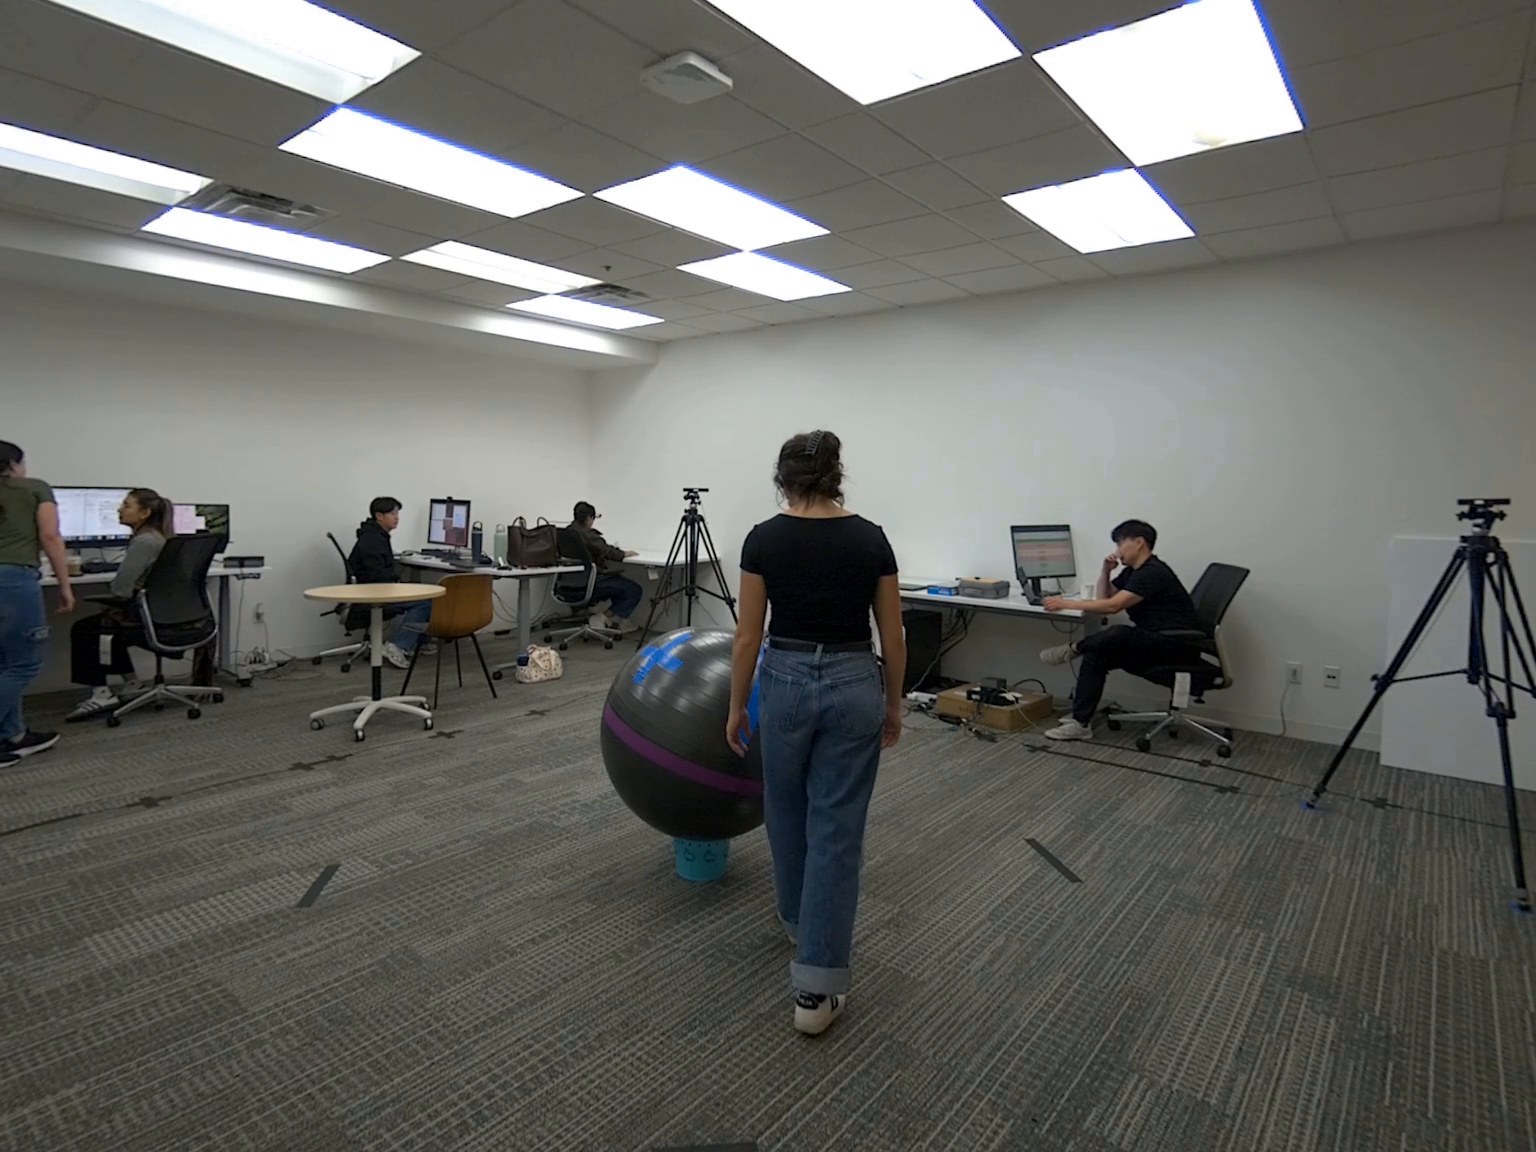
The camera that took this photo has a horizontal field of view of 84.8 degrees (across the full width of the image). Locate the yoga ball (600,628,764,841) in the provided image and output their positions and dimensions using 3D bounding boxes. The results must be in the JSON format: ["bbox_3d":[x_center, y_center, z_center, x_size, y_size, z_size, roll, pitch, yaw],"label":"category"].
[{"bbox_3d":[-0.228,0.565,3.081,0.757,0.756,0.762,1,4,-2],"label":"yoga ball"}]
